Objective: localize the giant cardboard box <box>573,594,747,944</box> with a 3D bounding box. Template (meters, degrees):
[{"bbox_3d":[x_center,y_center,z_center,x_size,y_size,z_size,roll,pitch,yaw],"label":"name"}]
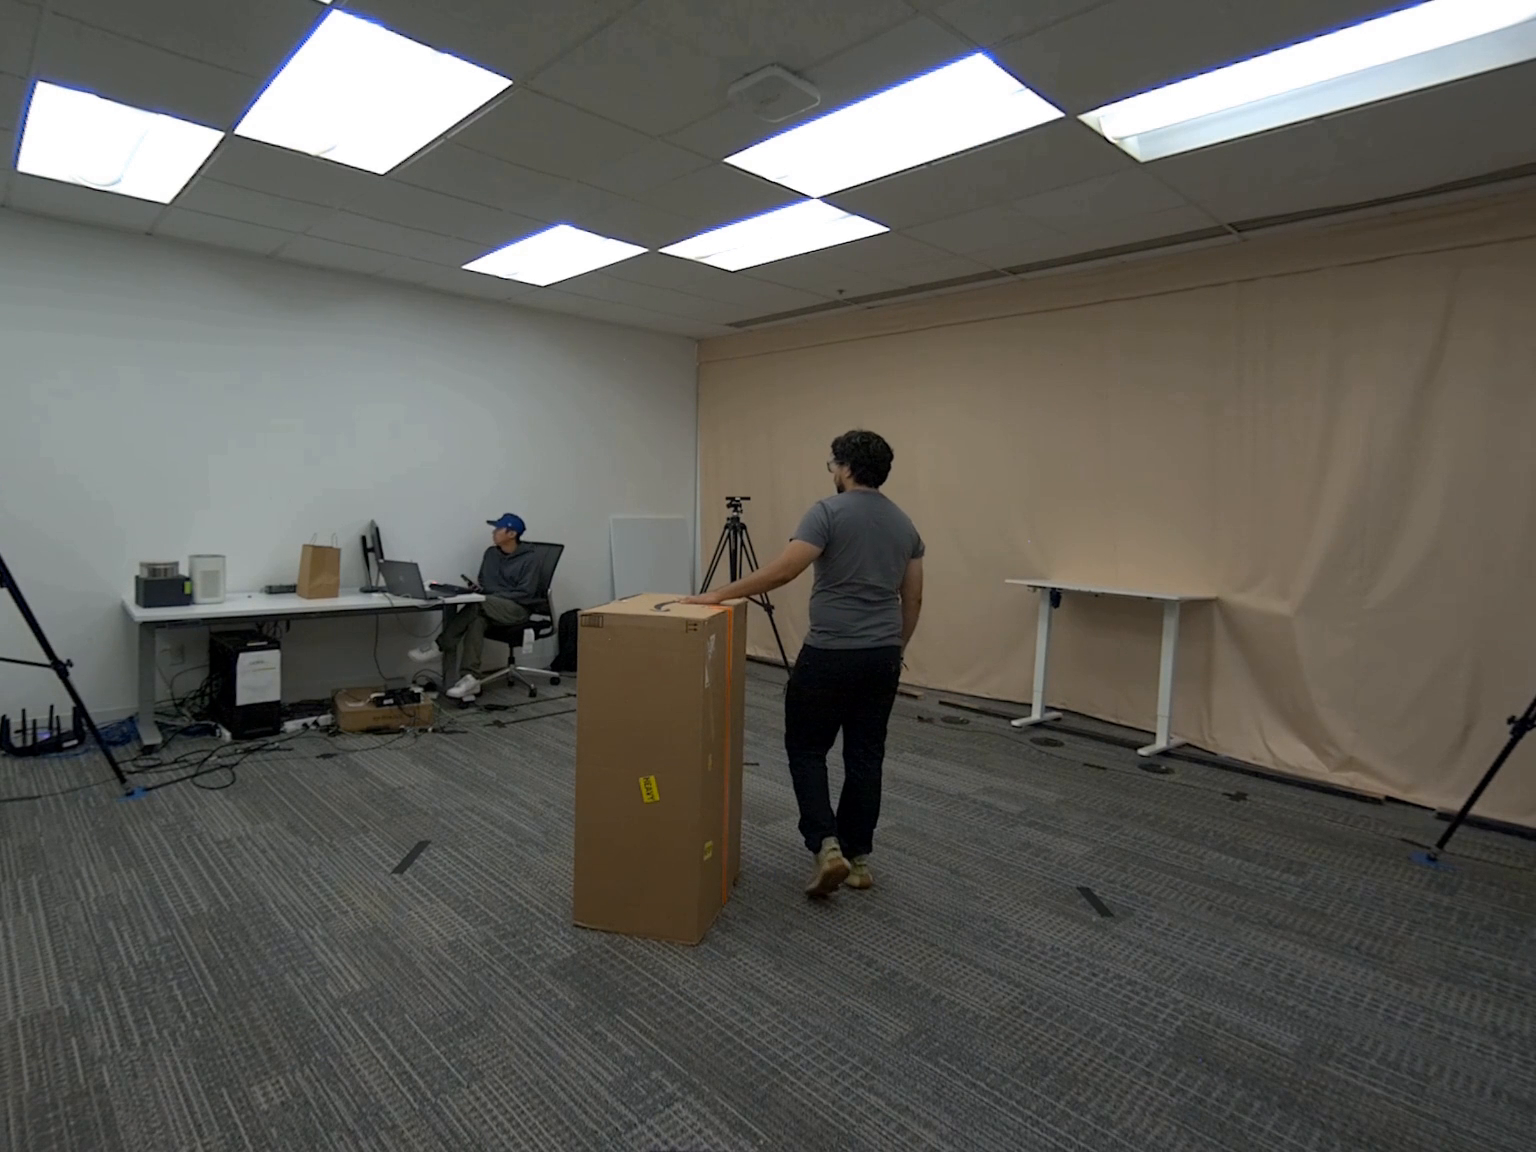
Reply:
[{"bbox_3d":[-0.351,0.607,2.909,0.431,1.024,0.572,2,3,13],"label":"giant cardboard box"}]
